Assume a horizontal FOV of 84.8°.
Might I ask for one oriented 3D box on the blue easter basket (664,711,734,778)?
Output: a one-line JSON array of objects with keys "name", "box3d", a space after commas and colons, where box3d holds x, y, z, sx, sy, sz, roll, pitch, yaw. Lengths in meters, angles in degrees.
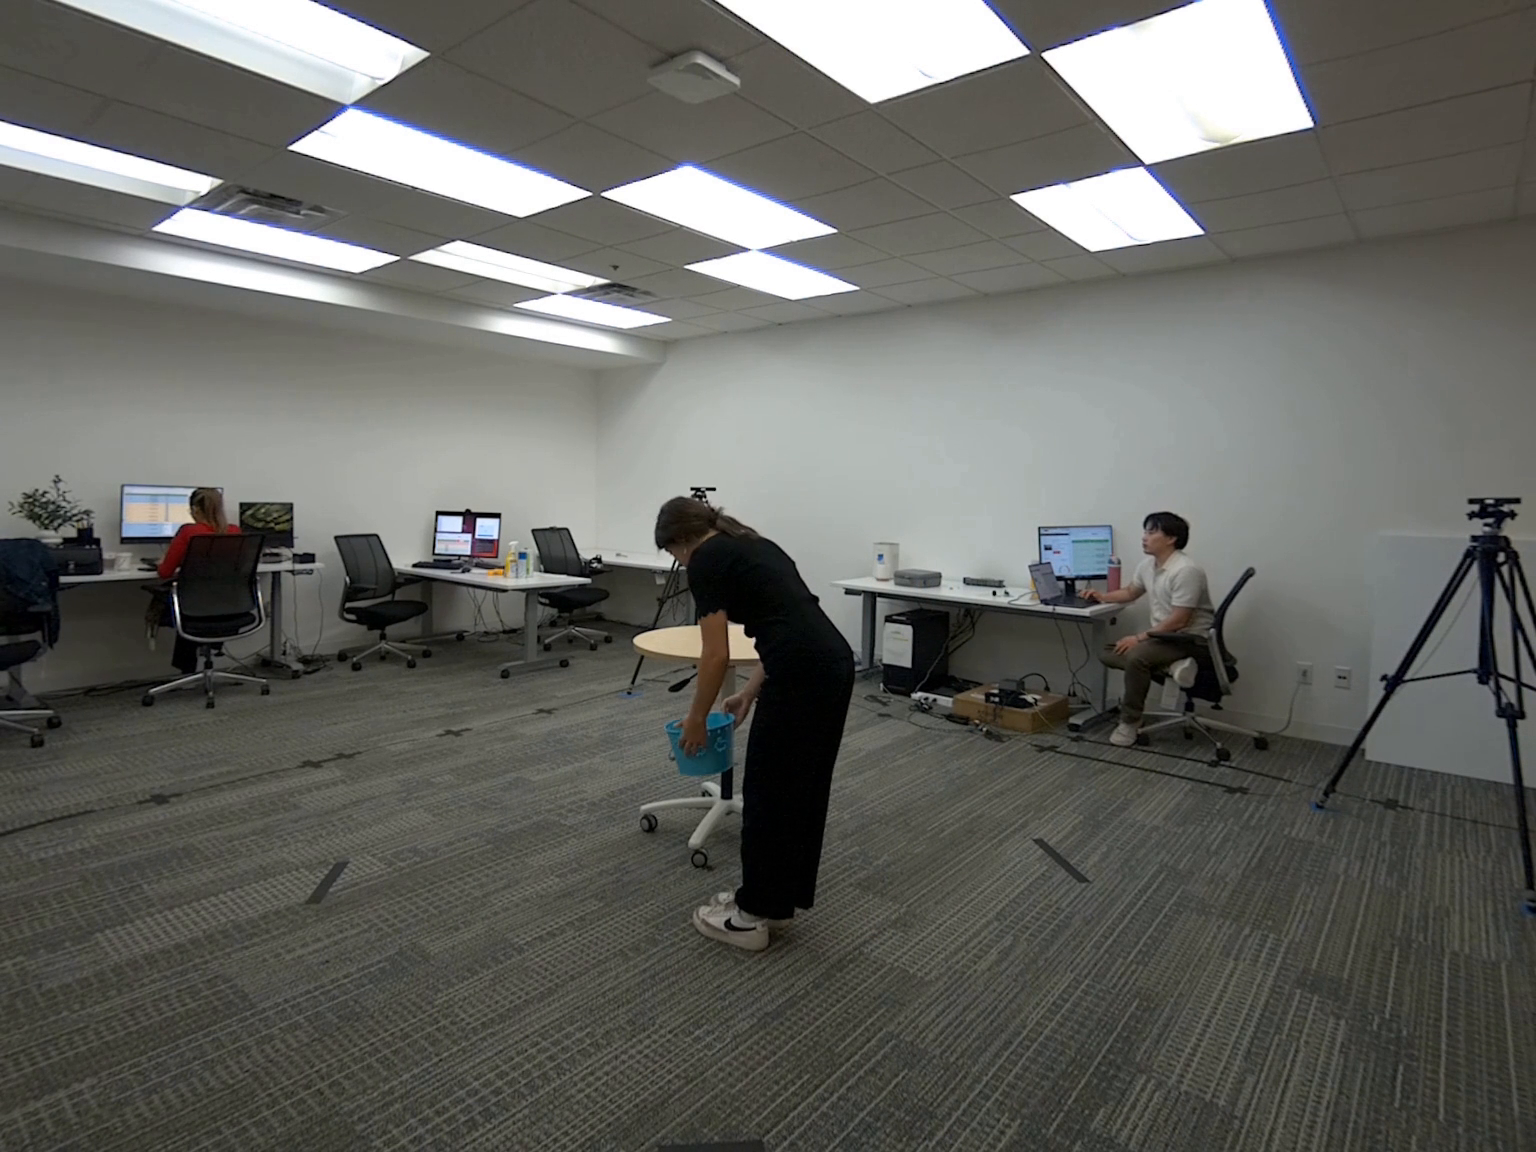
[{"name": "blue easter basket", "box3d": [-0.224, 0.550, 2.786, 0.243, 0.156, 0.244, -7, 2, -2]}]
